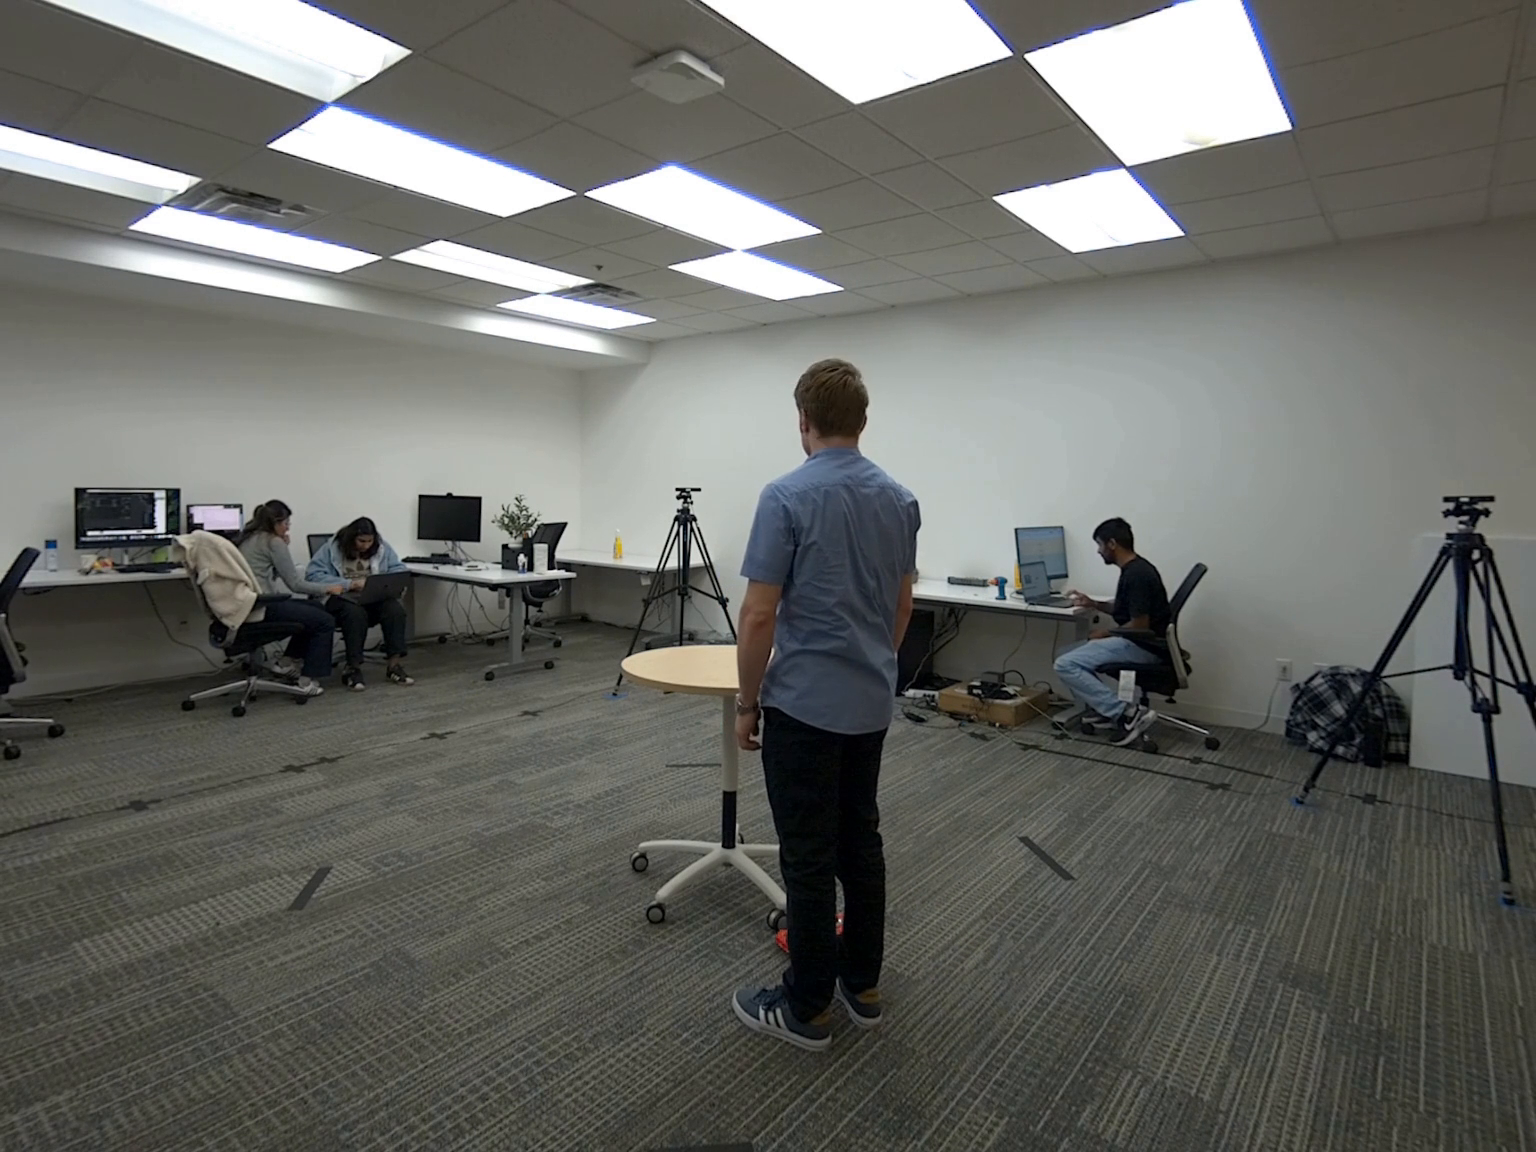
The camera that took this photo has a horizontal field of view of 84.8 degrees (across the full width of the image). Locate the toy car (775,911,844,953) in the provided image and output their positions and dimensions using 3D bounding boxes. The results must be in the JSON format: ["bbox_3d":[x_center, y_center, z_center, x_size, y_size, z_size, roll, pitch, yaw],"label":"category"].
[{"bbox_3d":[0.152,1.094,2.589,0.249,0.082,0.134,-15,13,-30],"label":"toy car"}]
